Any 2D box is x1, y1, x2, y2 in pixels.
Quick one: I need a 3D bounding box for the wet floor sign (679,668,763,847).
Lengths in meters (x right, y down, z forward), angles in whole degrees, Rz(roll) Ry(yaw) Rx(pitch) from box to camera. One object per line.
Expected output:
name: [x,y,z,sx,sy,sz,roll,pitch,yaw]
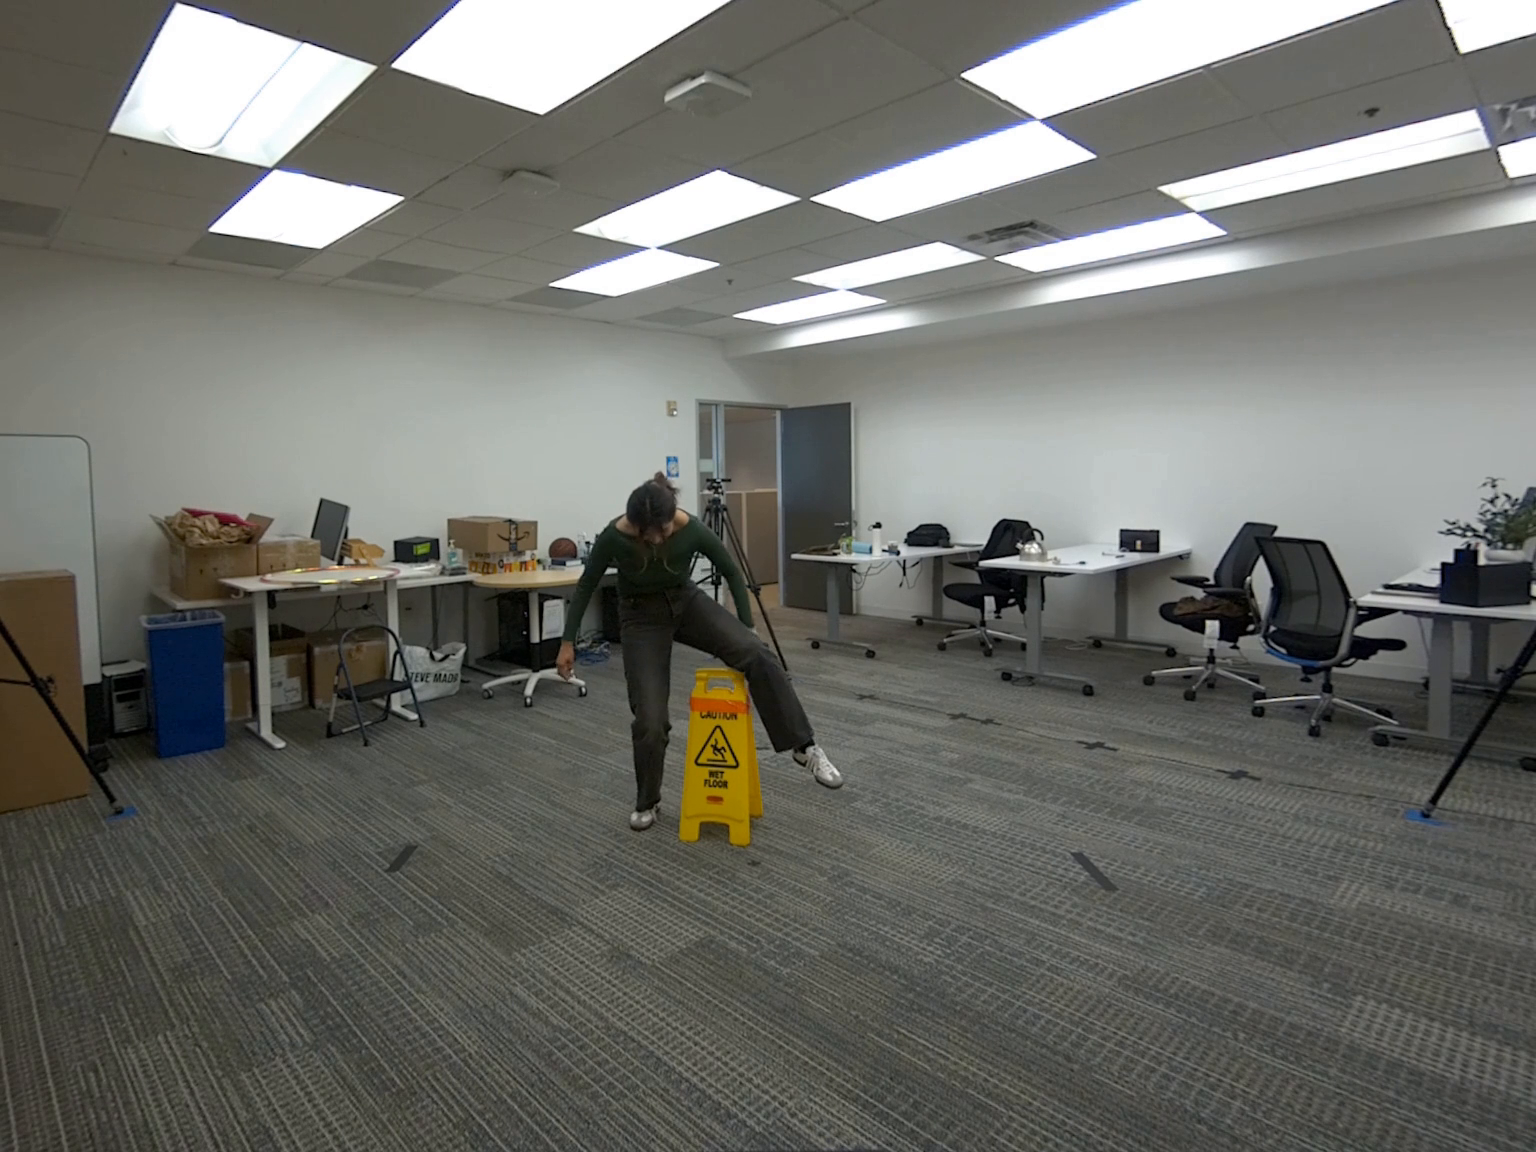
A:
wet floor sign: [-0.190,0.697,3.407,0.285,0.644,0.287,-3,4,11]
